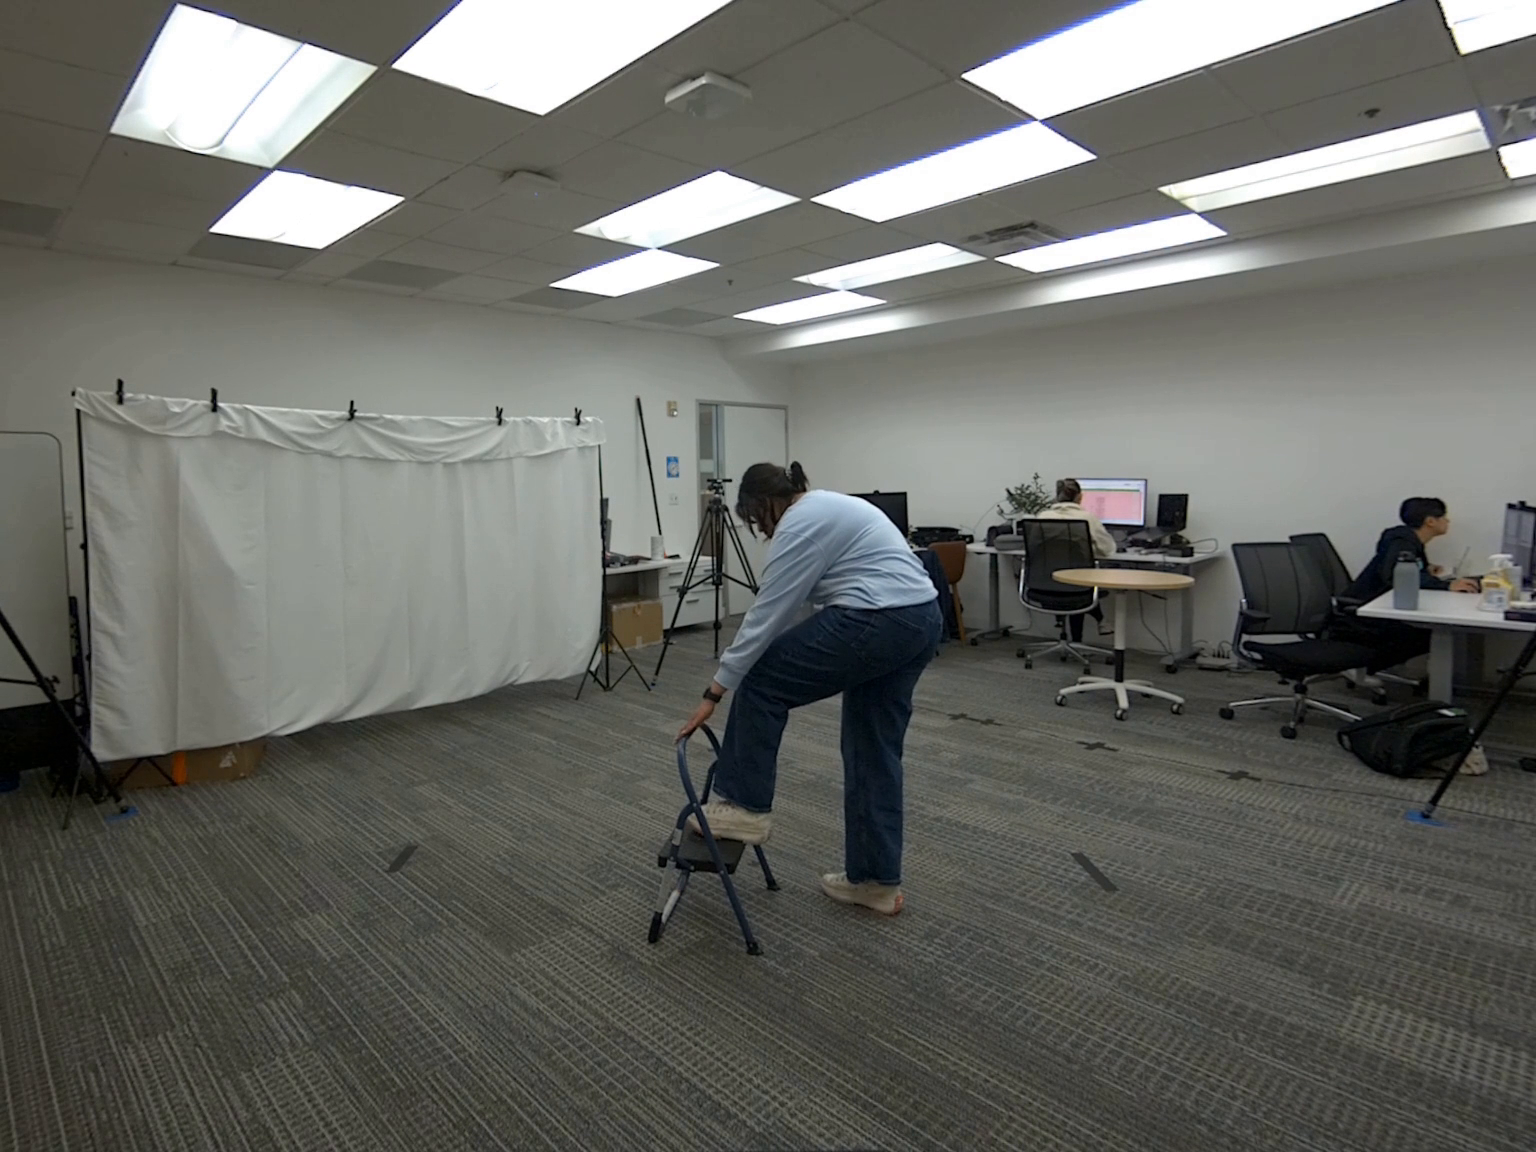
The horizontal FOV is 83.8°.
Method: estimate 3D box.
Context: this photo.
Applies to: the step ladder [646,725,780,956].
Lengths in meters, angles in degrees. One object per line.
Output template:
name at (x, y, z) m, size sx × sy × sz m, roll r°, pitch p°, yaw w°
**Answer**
step ladder at (-0.164, 0.791, 2.729) m, size 0.353 × 0.604 × 0.428 m, roll 0°, pitch 5°, yaw 10°
